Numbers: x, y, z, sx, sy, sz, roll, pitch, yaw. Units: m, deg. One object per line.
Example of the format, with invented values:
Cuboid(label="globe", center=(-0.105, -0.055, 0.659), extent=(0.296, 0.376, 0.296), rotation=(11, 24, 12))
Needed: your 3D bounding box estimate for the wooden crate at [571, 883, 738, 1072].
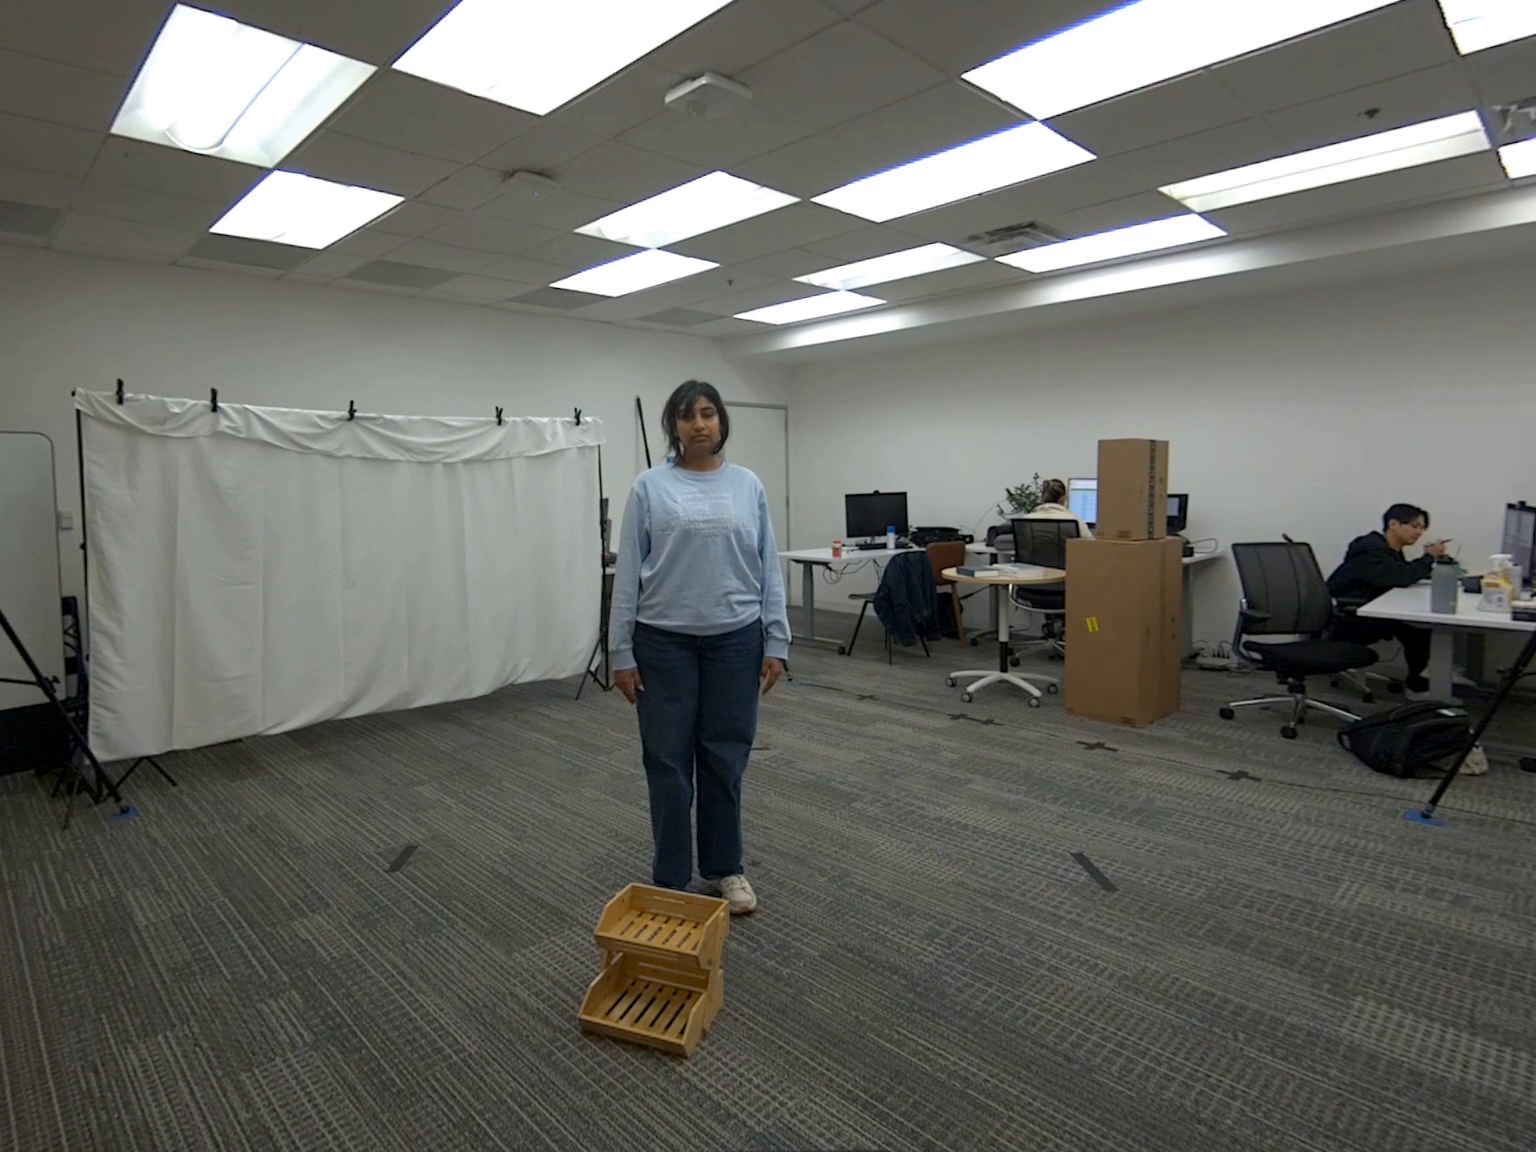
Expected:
Cuboid(label="wooden crate", center=(-0.290, 1.028, 2.240), extent=(0.331, 0.272, 0.297), rotation=(1, 5, 21))
